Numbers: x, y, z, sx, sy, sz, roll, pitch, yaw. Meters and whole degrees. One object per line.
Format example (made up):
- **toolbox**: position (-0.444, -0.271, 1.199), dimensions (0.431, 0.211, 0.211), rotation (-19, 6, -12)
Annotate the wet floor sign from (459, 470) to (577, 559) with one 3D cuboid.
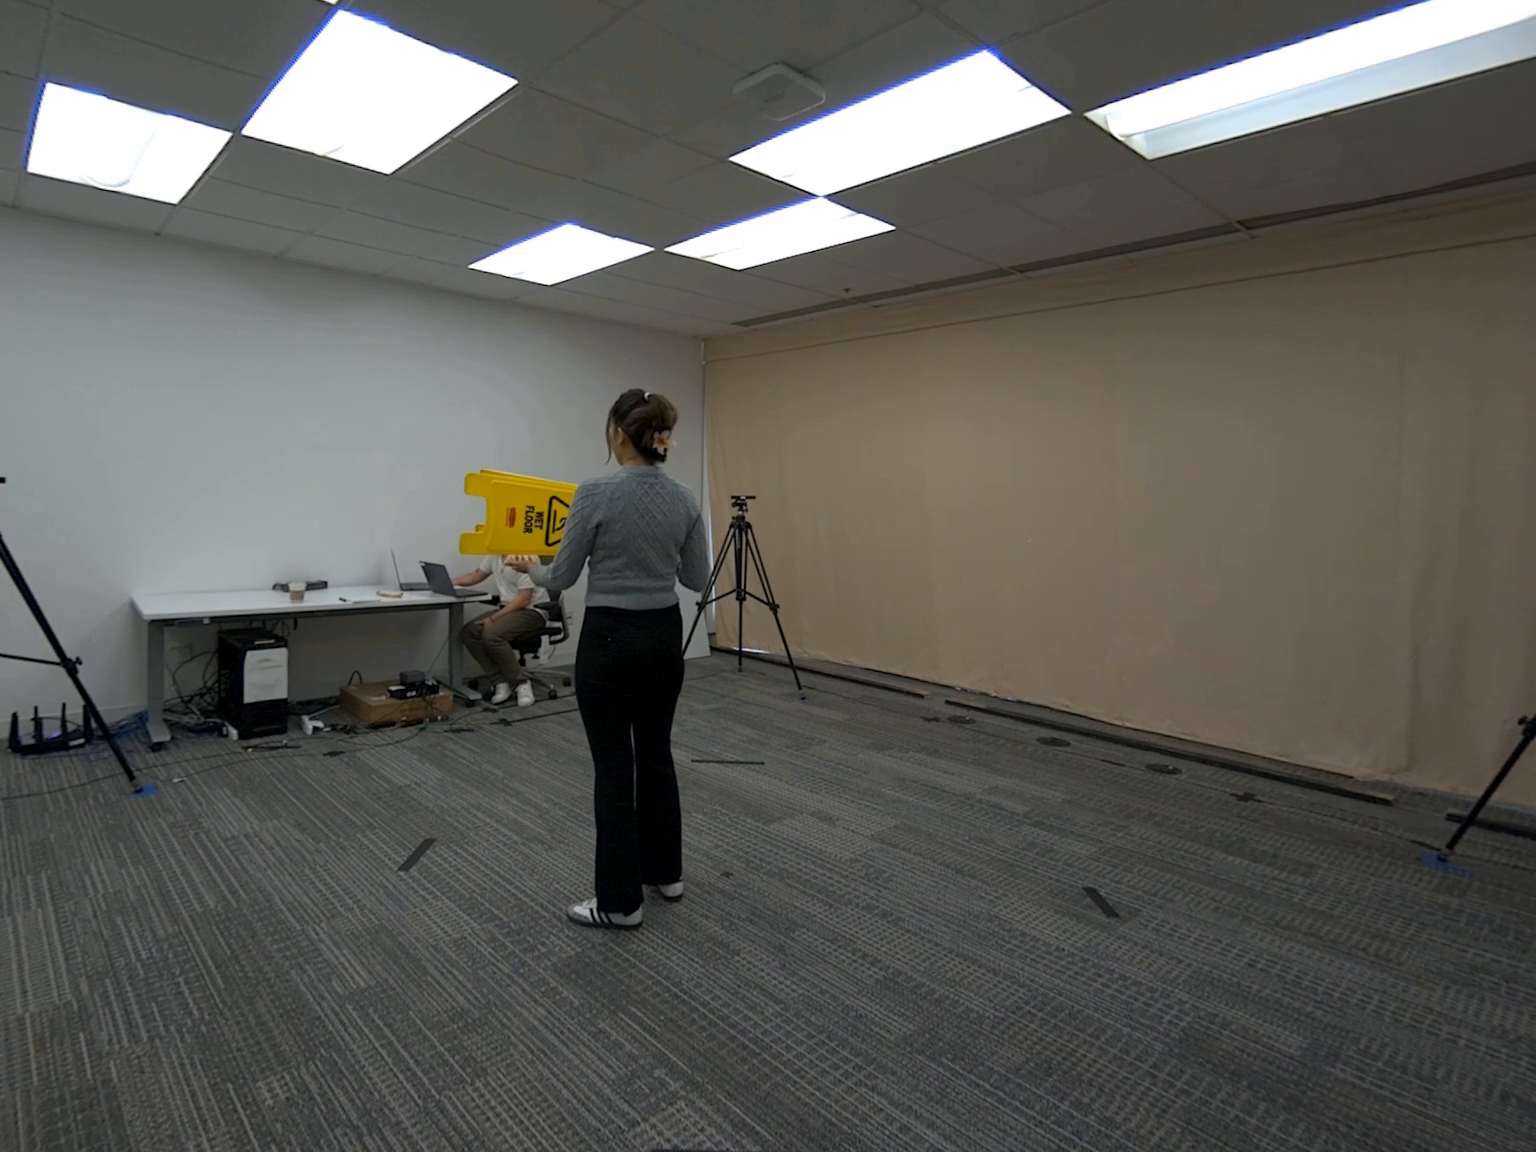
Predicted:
- **wet floor sign**: position (-0.738, -0.205, 3.008), dimensions (0.641, 0.281, 0.293), rotation (6, 7, -9)
